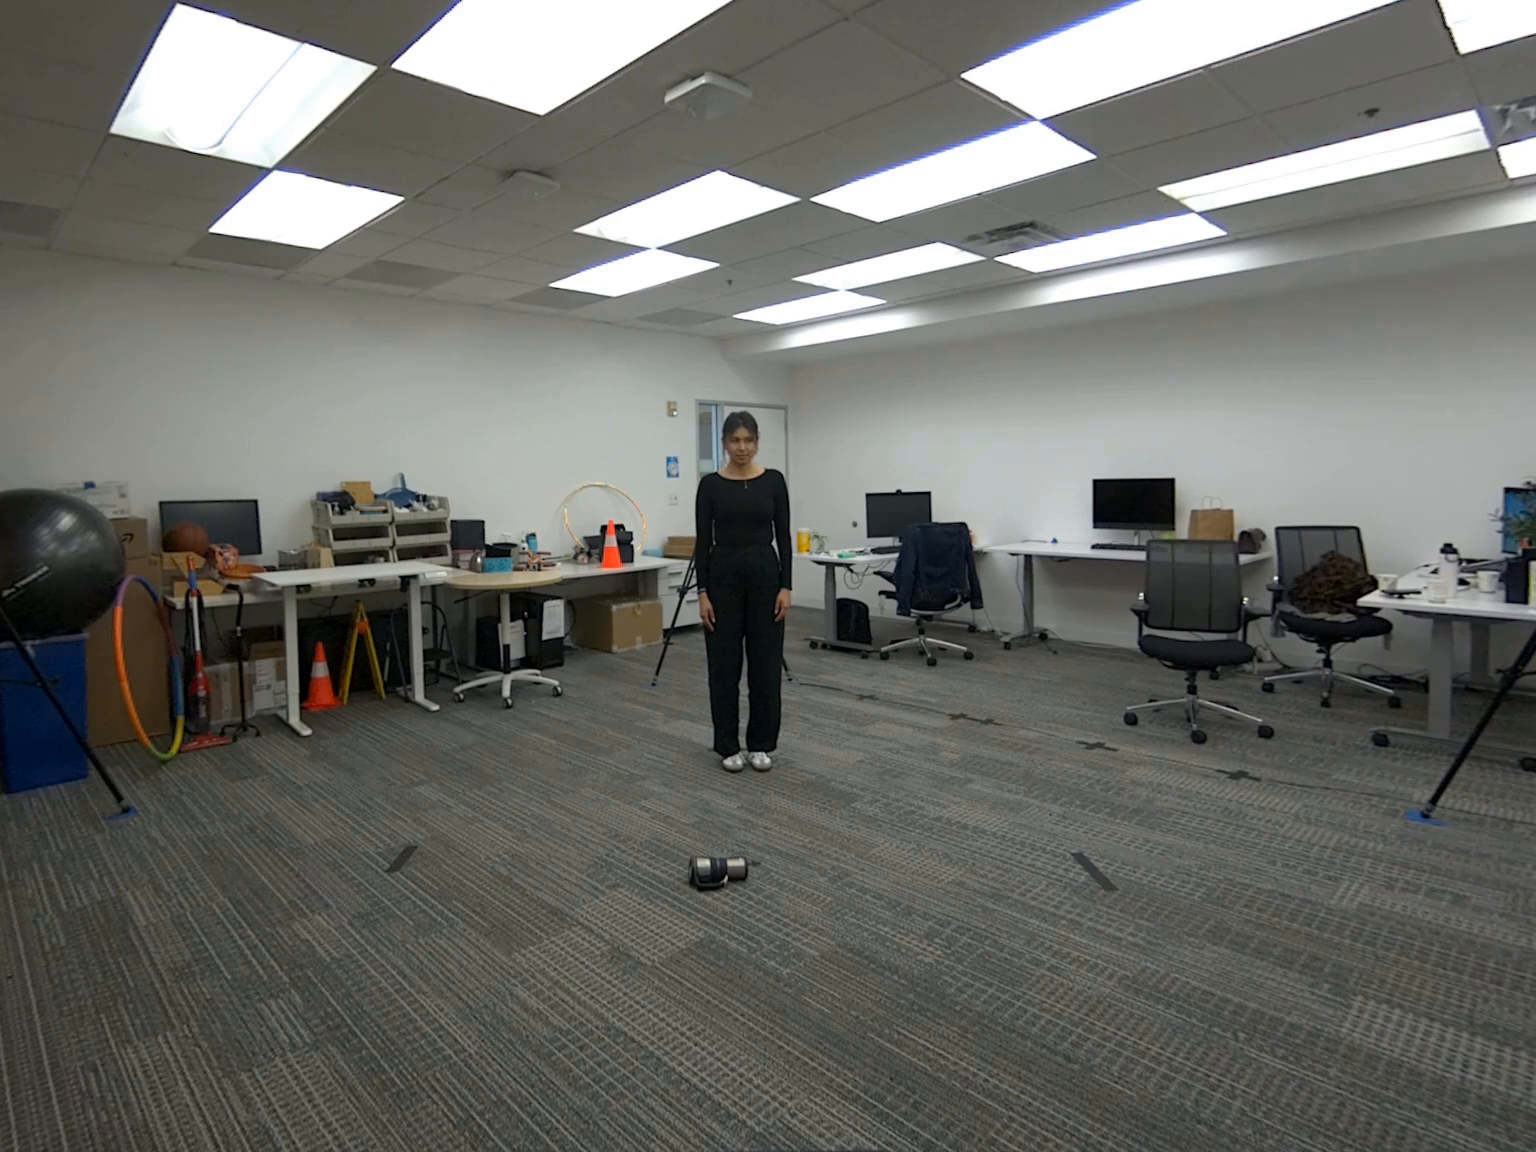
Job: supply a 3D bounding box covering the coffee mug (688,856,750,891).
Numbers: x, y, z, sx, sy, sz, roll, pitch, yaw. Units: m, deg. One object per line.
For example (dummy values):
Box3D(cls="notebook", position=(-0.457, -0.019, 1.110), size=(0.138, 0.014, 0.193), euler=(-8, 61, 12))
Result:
Box3D(cls="coffee mug", position=(-0.175, 1.038, 2.967), size=(0.201, 0.125, 0.086), euler=(3, -38, -10))
